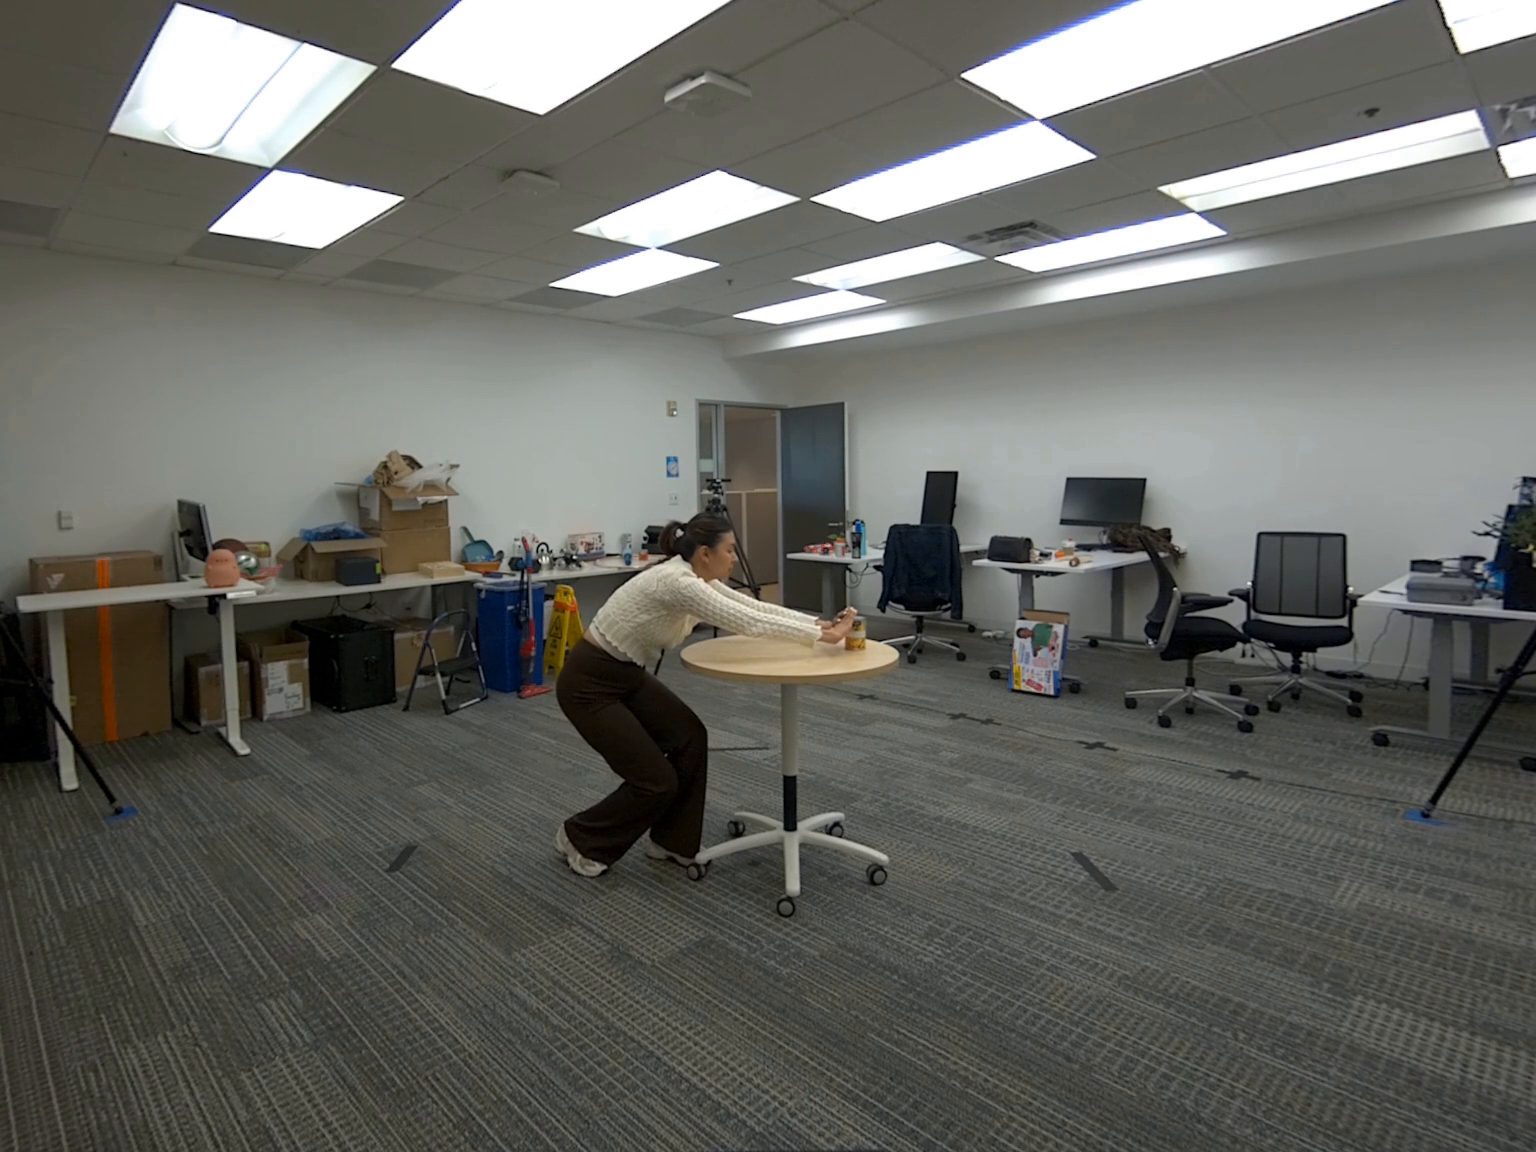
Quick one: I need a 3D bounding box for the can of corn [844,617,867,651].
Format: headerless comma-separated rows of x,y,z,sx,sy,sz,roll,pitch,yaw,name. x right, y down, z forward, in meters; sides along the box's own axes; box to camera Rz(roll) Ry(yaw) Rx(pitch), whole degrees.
0.310,0.204,3.055,0.074,0.110,0.075,0,6,-2,can of corn
